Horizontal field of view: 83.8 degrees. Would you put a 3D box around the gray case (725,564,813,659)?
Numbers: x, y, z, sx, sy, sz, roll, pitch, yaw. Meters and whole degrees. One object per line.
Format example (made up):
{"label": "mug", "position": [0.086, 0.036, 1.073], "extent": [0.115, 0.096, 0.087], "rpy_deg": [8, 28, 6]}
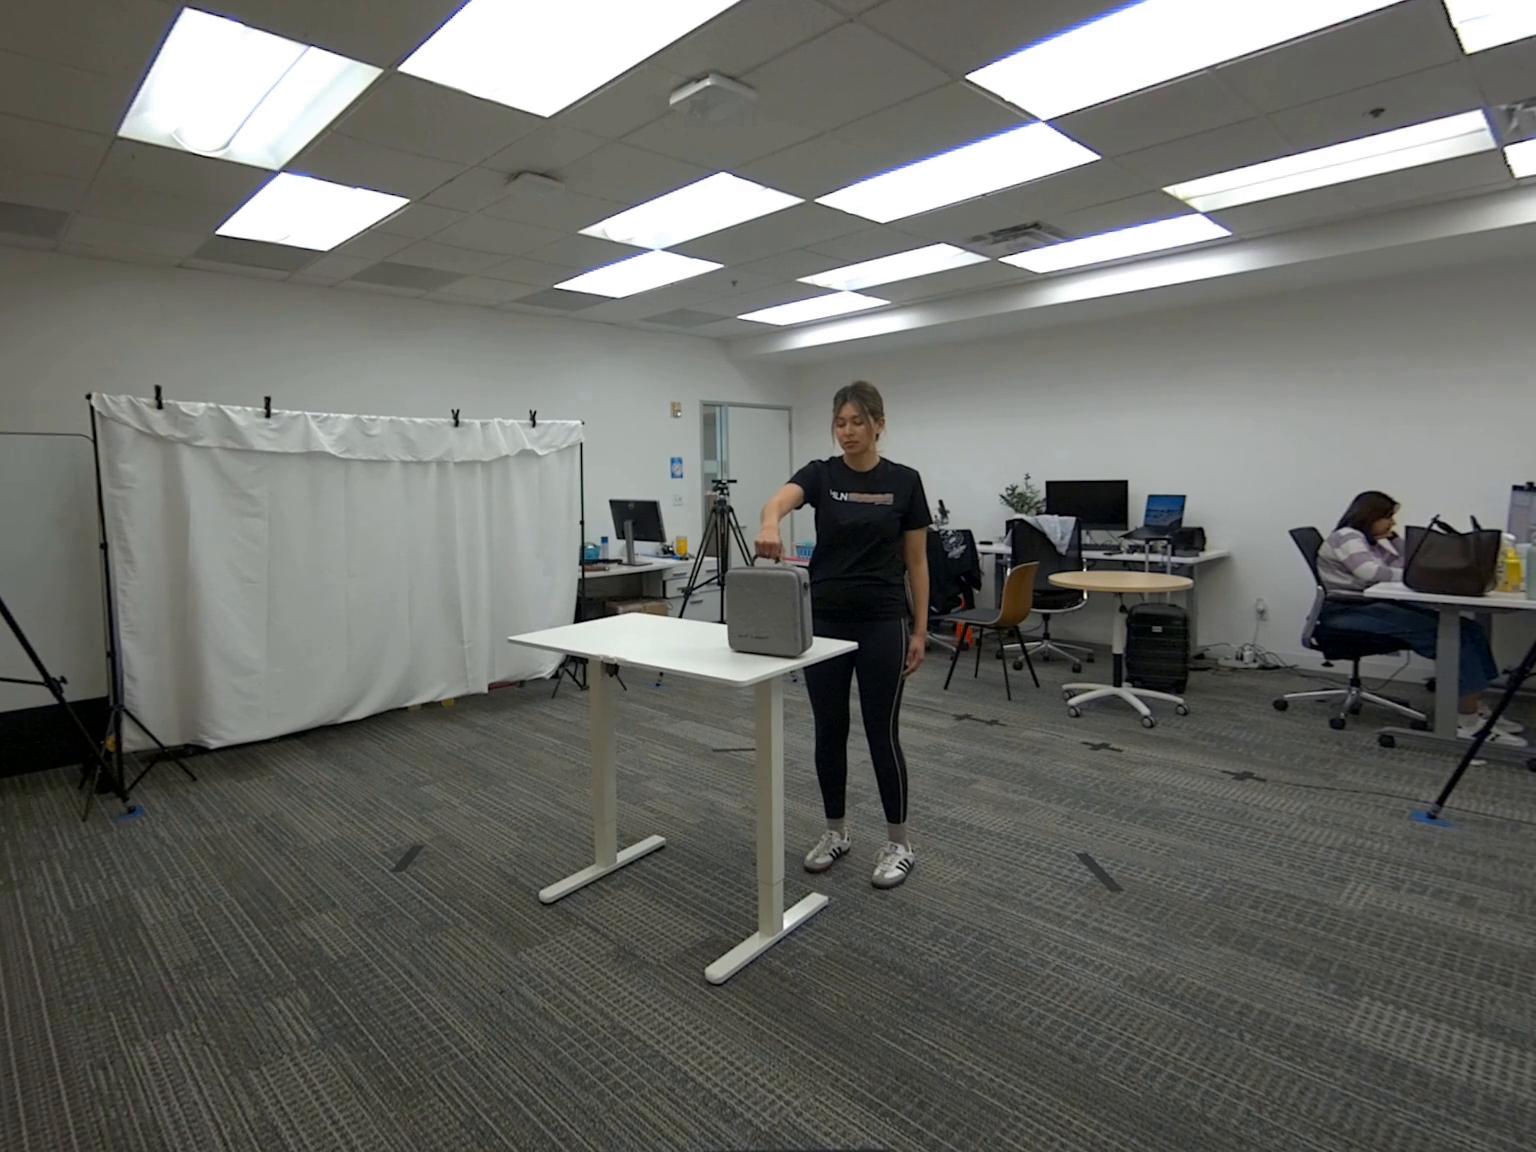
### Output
{"label": "gray case", "position": [0.002, 0.097, 2.538], "extent": [0.264, 0.260, 0.102], "rpy_deg": [1, 5, 33]}
